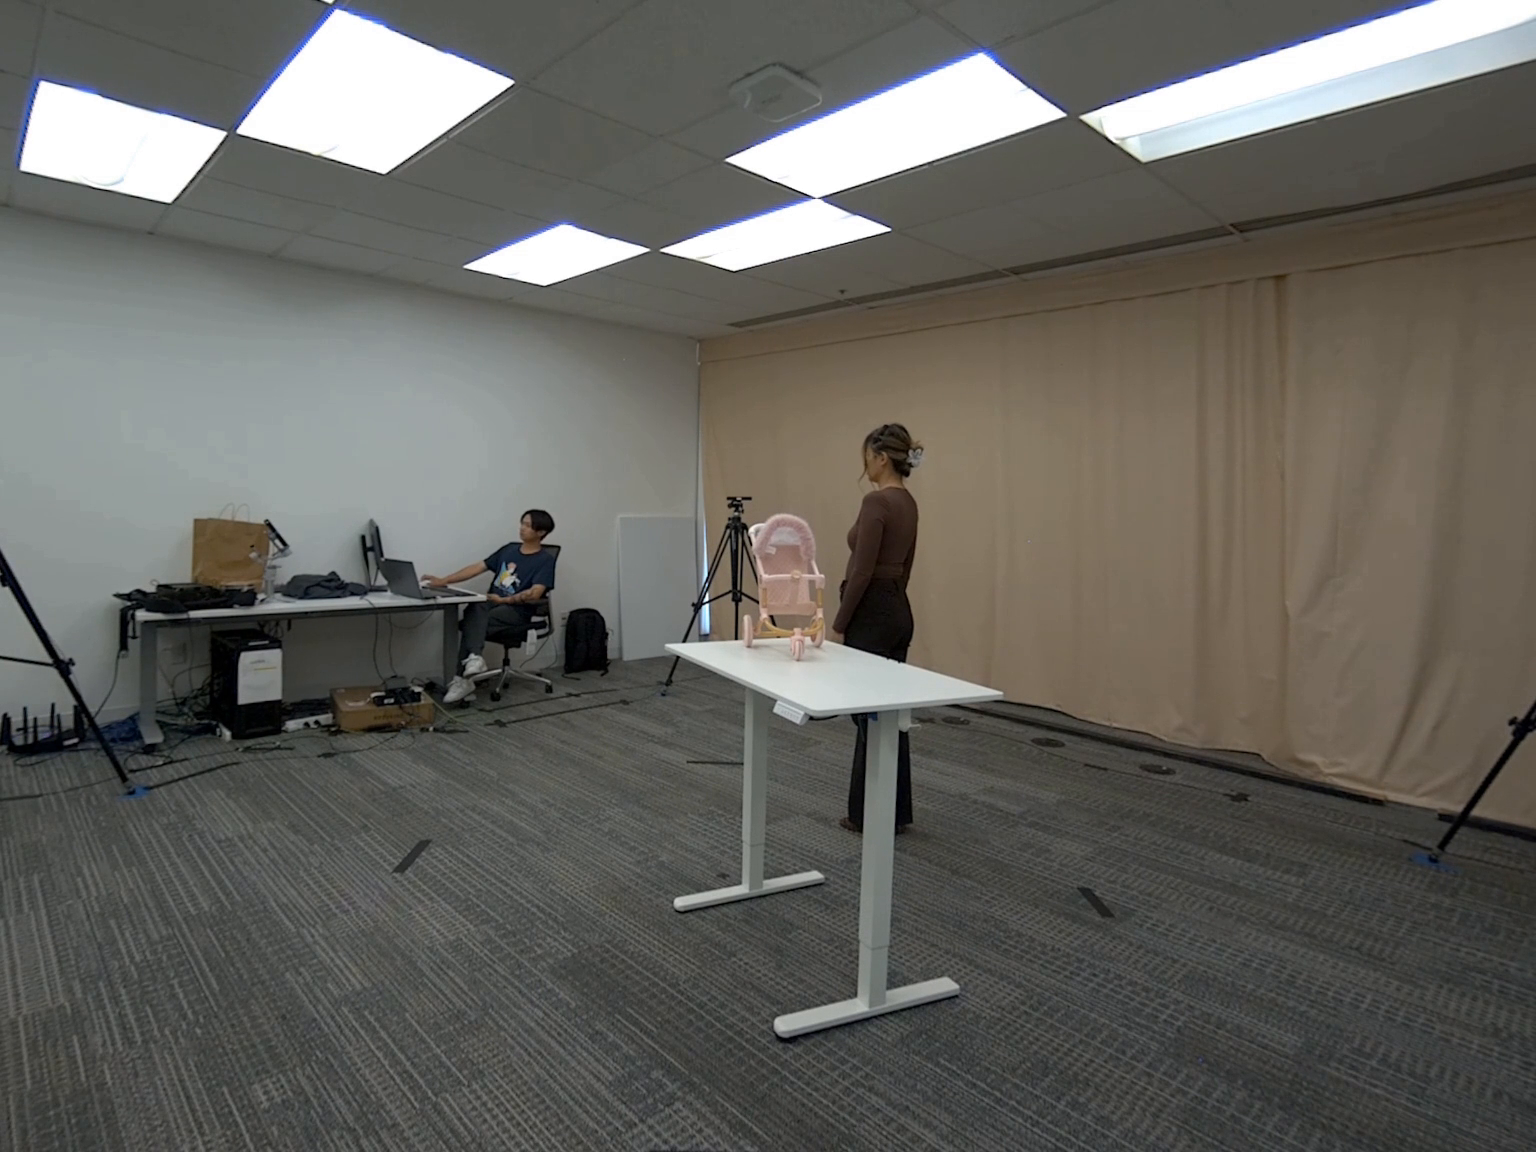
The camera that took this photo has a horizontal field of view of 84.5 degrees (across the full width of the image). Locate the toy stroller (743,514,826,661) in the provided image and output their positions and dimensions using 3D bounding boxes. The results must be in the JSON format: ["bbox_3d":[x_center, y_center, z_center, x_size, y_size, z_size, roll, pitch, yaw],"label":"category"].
[{"bbox_3d":[0.059,0.033,2.849,0.280,0.541,0.339,0,-14,-6],"label":"toy stroller"}]
